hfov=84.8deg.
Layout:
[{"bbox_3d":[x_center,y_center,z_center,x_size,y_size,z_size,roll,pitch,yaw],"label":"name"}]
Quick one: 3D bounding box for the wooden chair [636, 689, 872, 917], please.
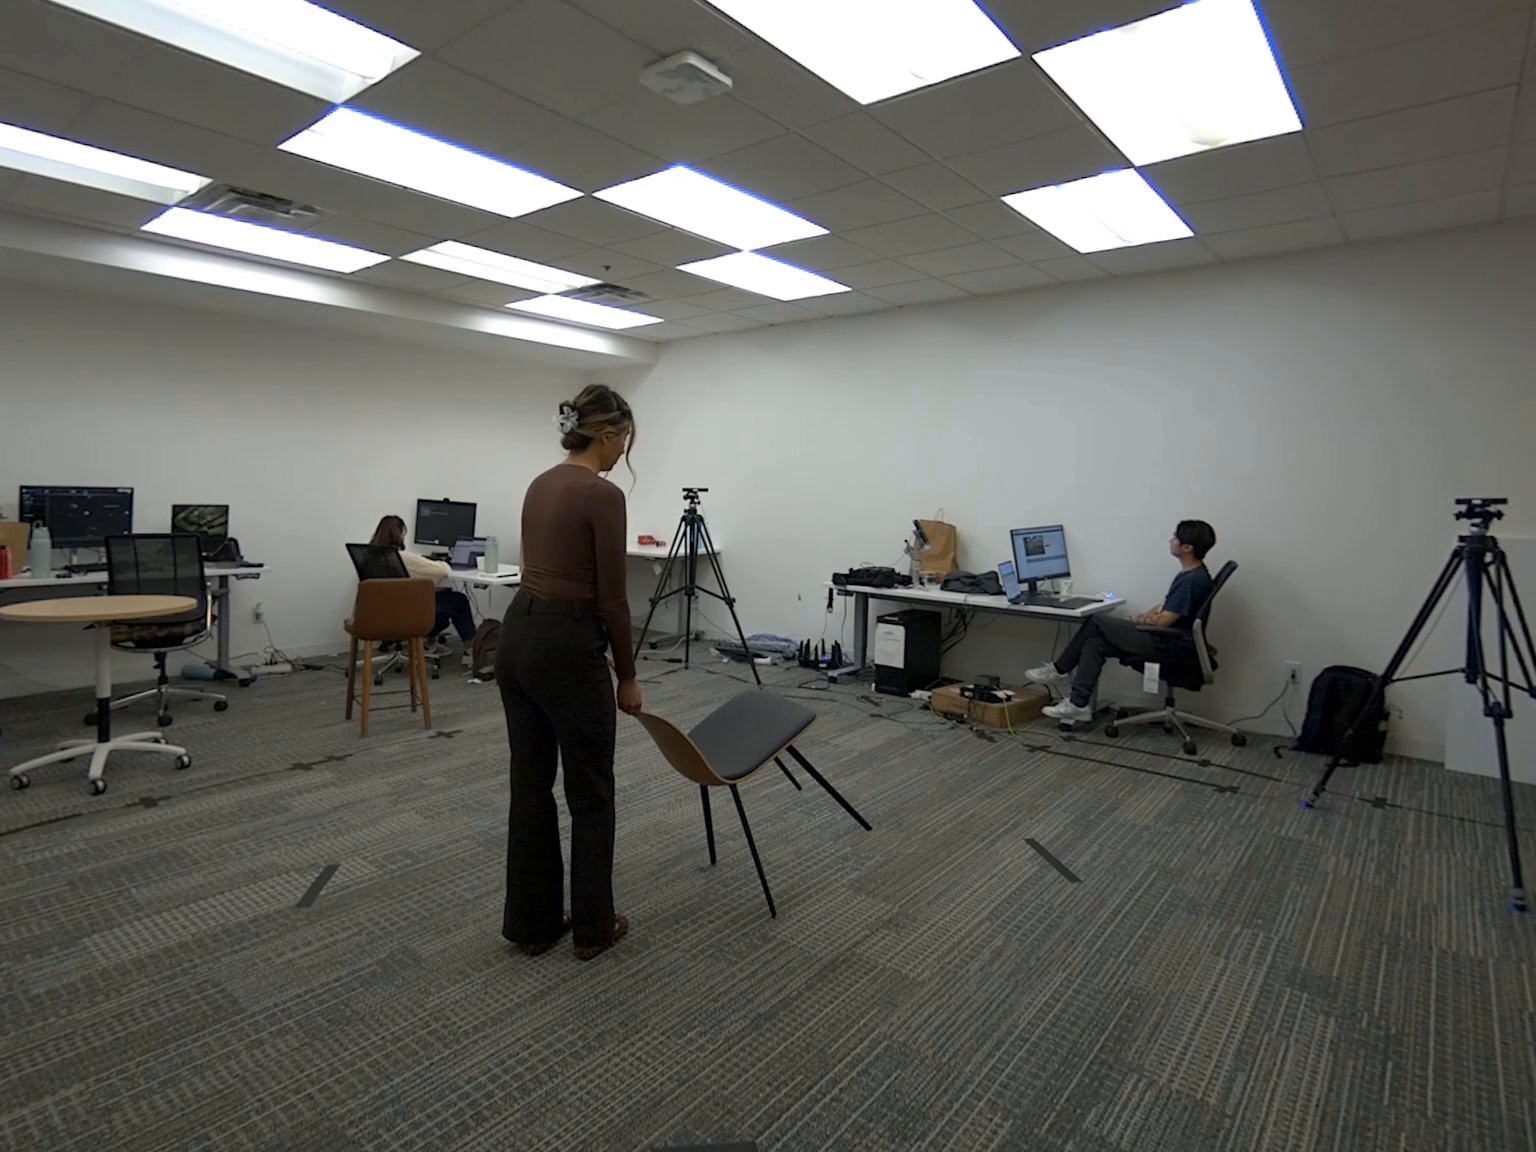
[{"bbox_3d":[-0.108,0.601,2.925,0.520,0.857,0.492,-38,20,-22],"label":"wooden chair"}]
